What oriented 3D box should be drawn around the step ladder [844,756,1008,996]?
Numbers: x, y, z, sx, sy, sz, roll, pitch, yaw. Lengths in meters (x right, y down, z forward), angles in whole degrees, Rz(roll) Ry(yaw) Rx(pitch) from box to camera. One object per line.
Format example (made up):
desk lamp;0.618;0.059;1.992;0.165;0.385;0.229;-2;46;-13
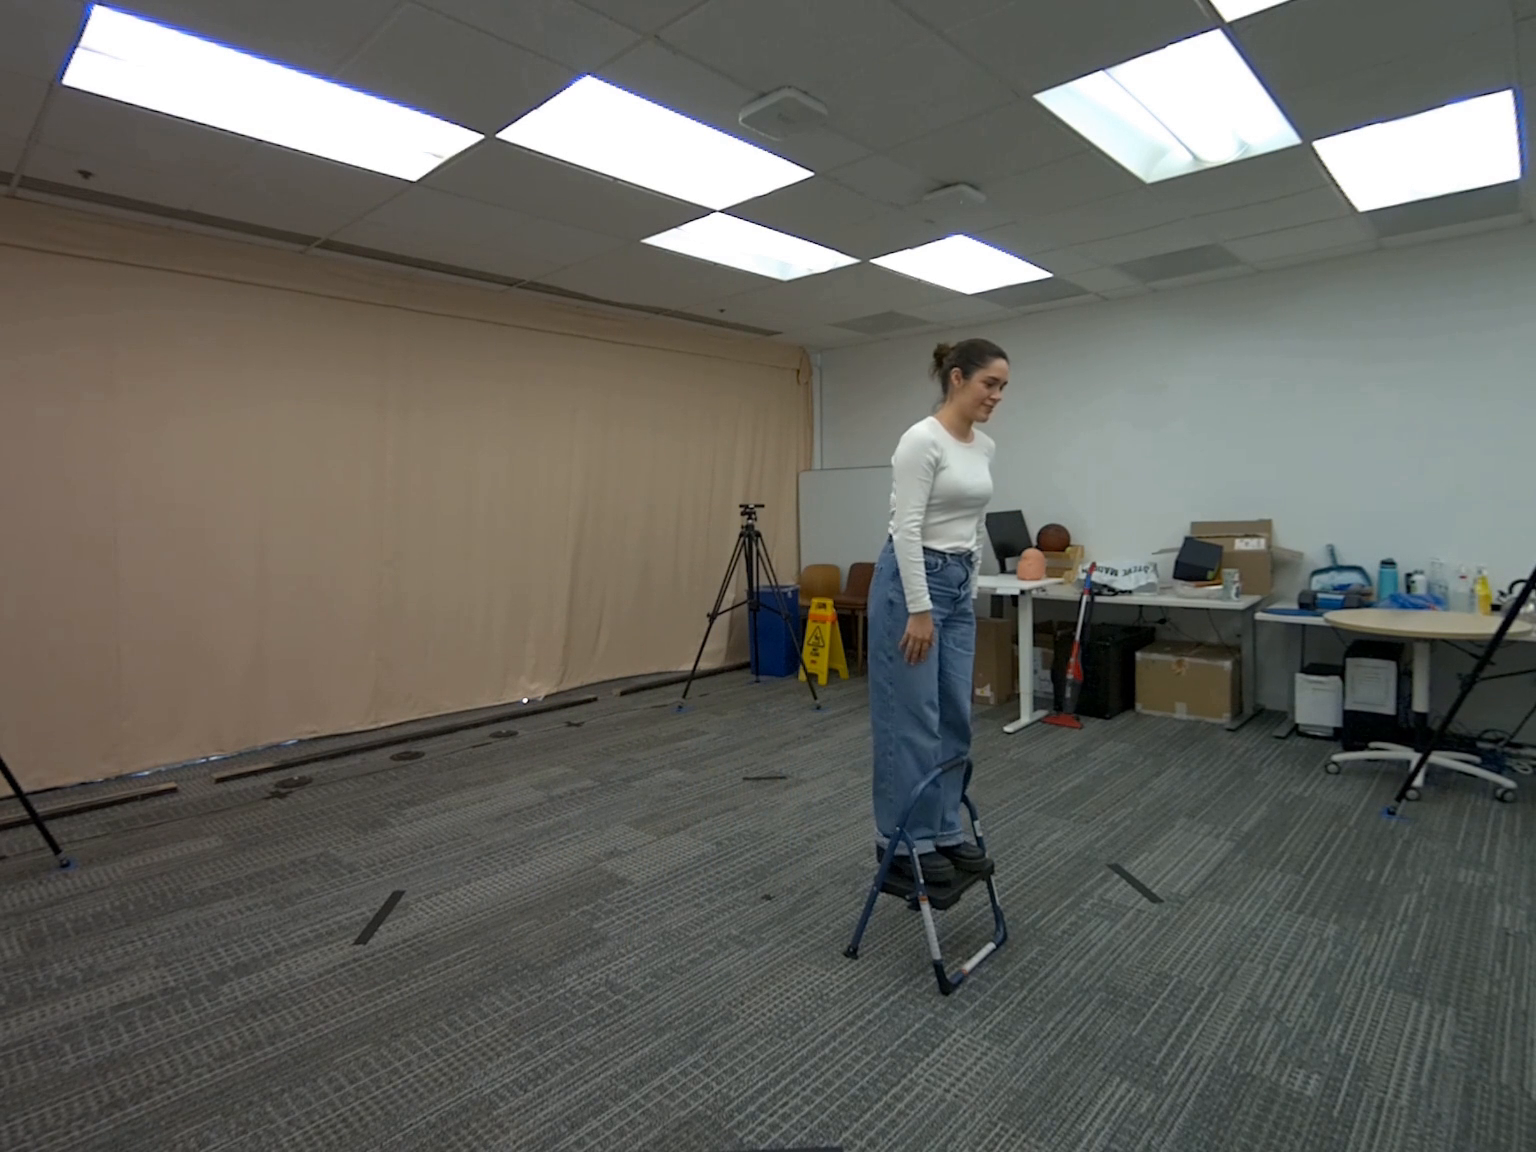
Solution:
step ladder;0.500;0.861;2.612;0.361;0.604;0.418;3;6;40
